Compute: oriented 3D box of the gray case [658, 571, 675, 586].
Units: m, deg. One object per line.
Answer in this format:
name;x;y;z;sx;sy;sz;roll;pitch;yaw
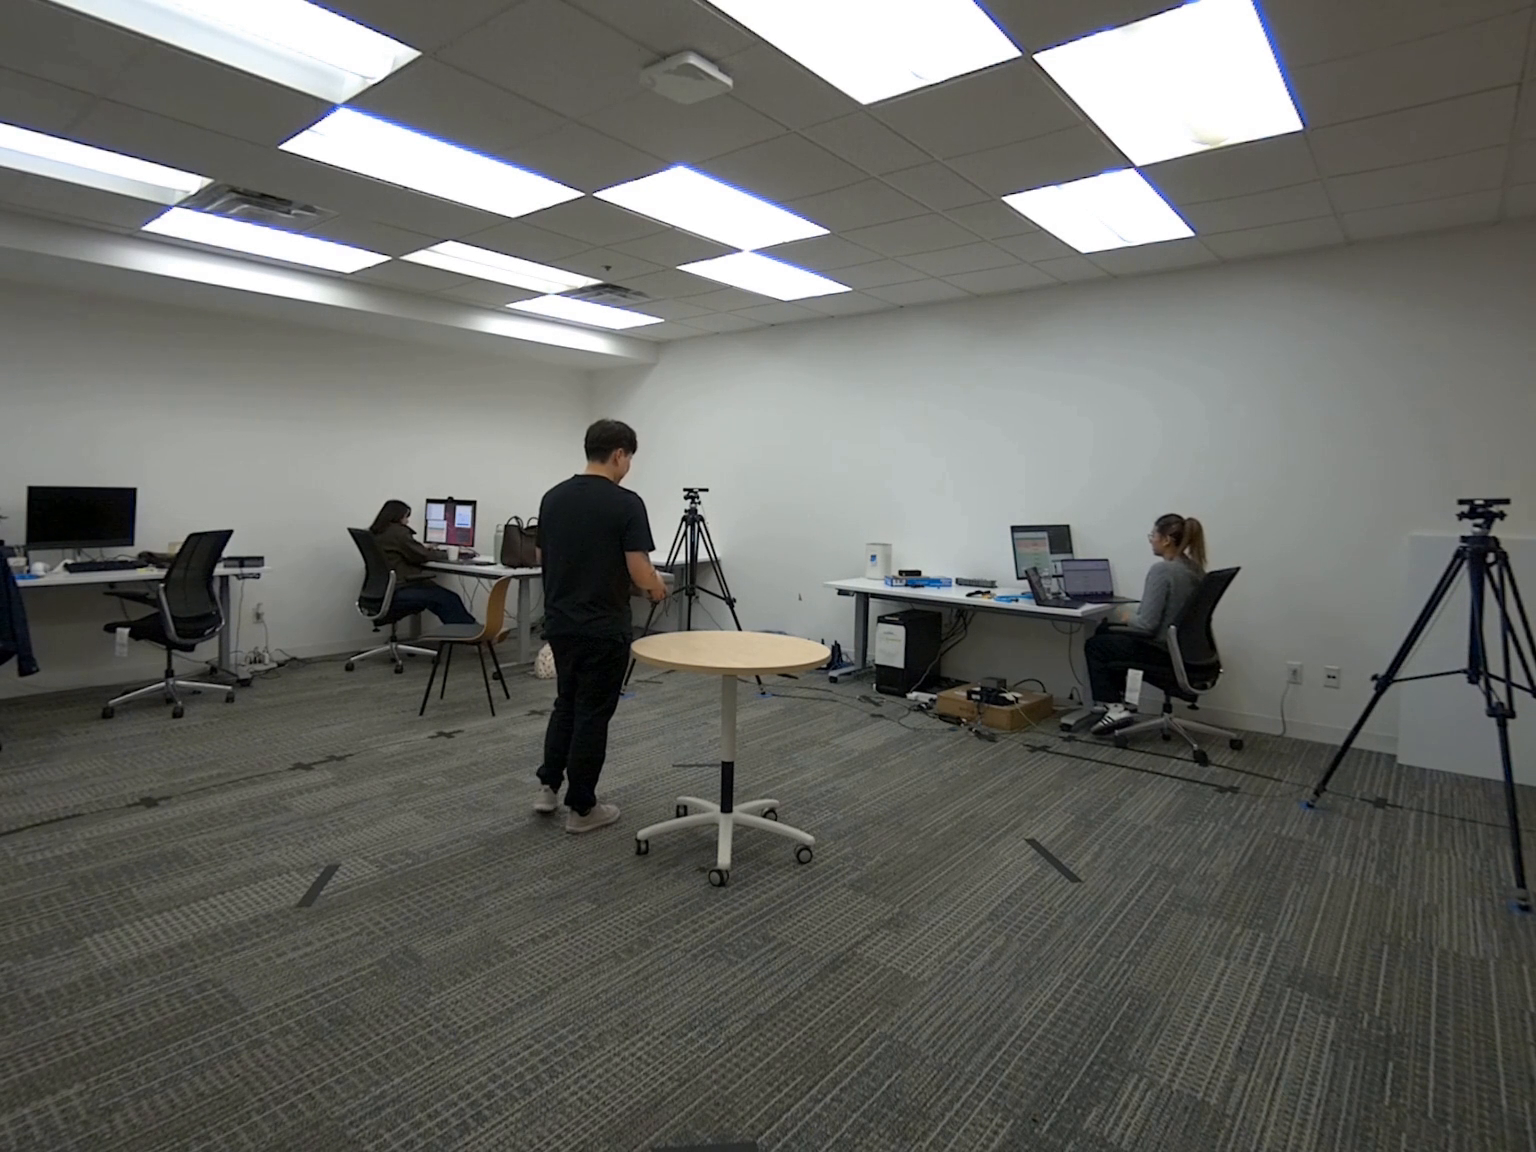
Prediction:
gray case;-0.583;0.028;3.699;0.264;0.104;0.253;7;3;27
